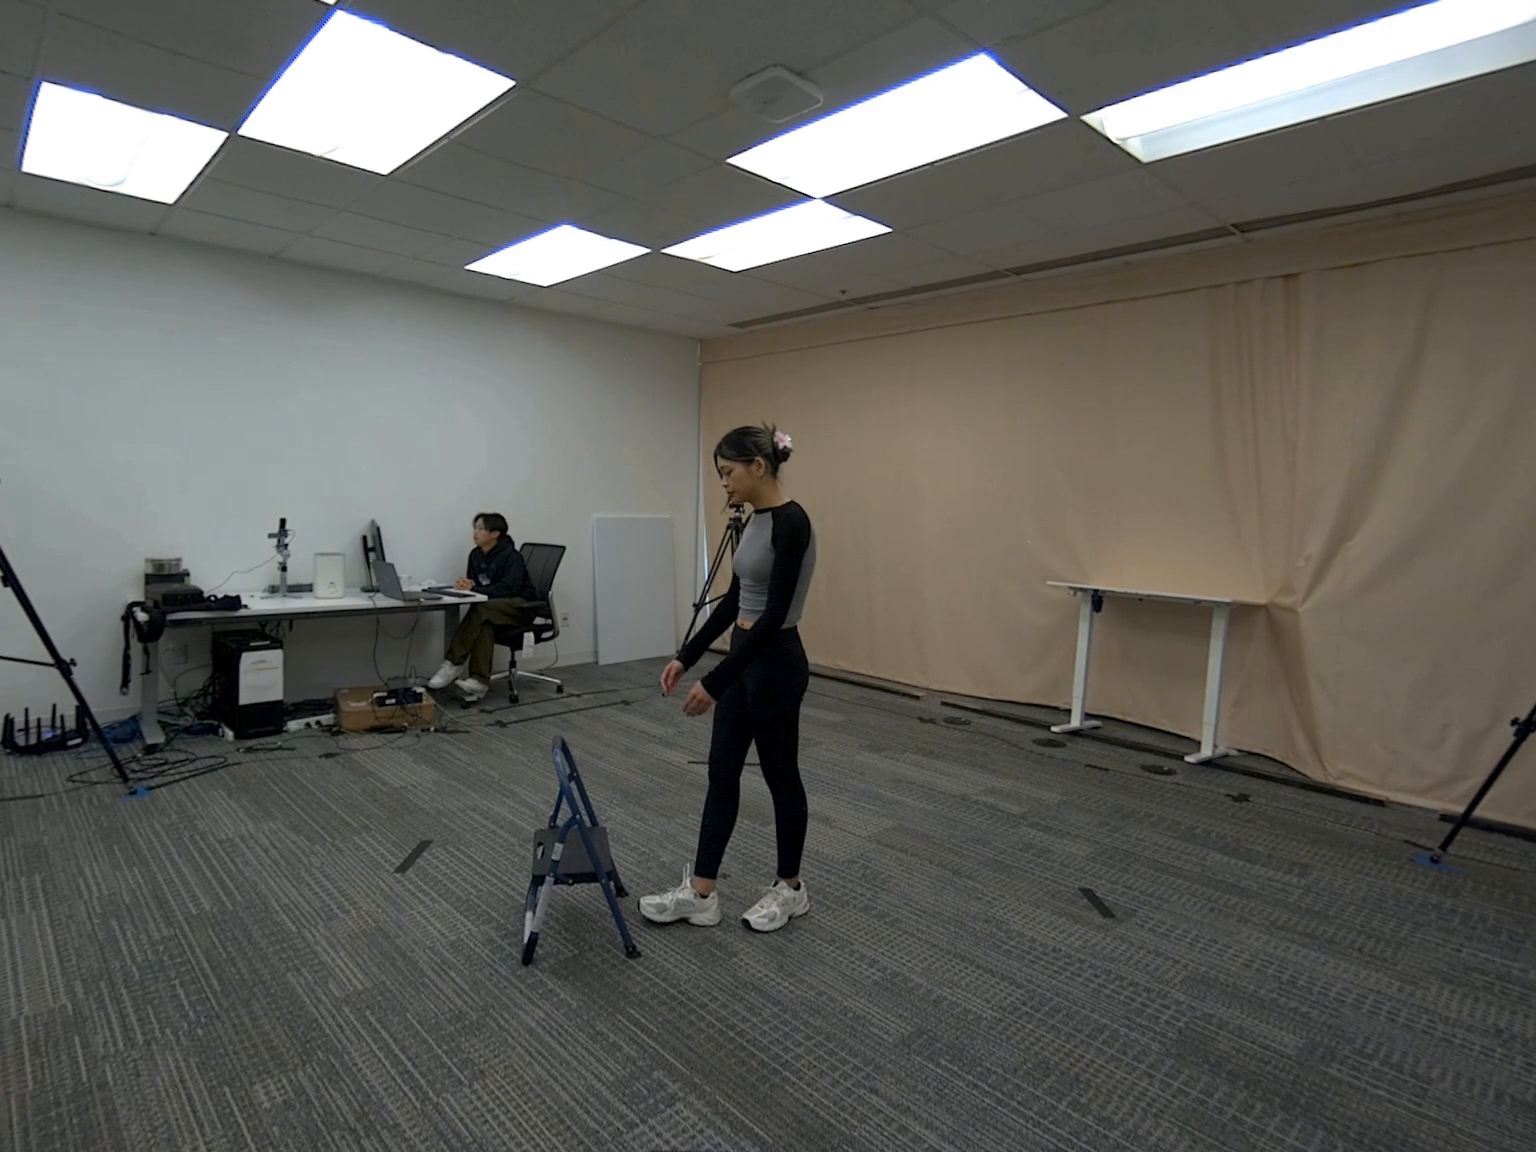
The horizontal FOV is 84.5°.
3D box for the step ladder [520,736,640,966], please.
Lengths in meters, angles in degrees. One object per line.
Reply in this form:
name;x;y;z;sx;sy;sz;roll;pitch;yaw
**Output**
step ladder;-0.607;0.834;2.694;0.345;0.604;0.436;0;4;-14
